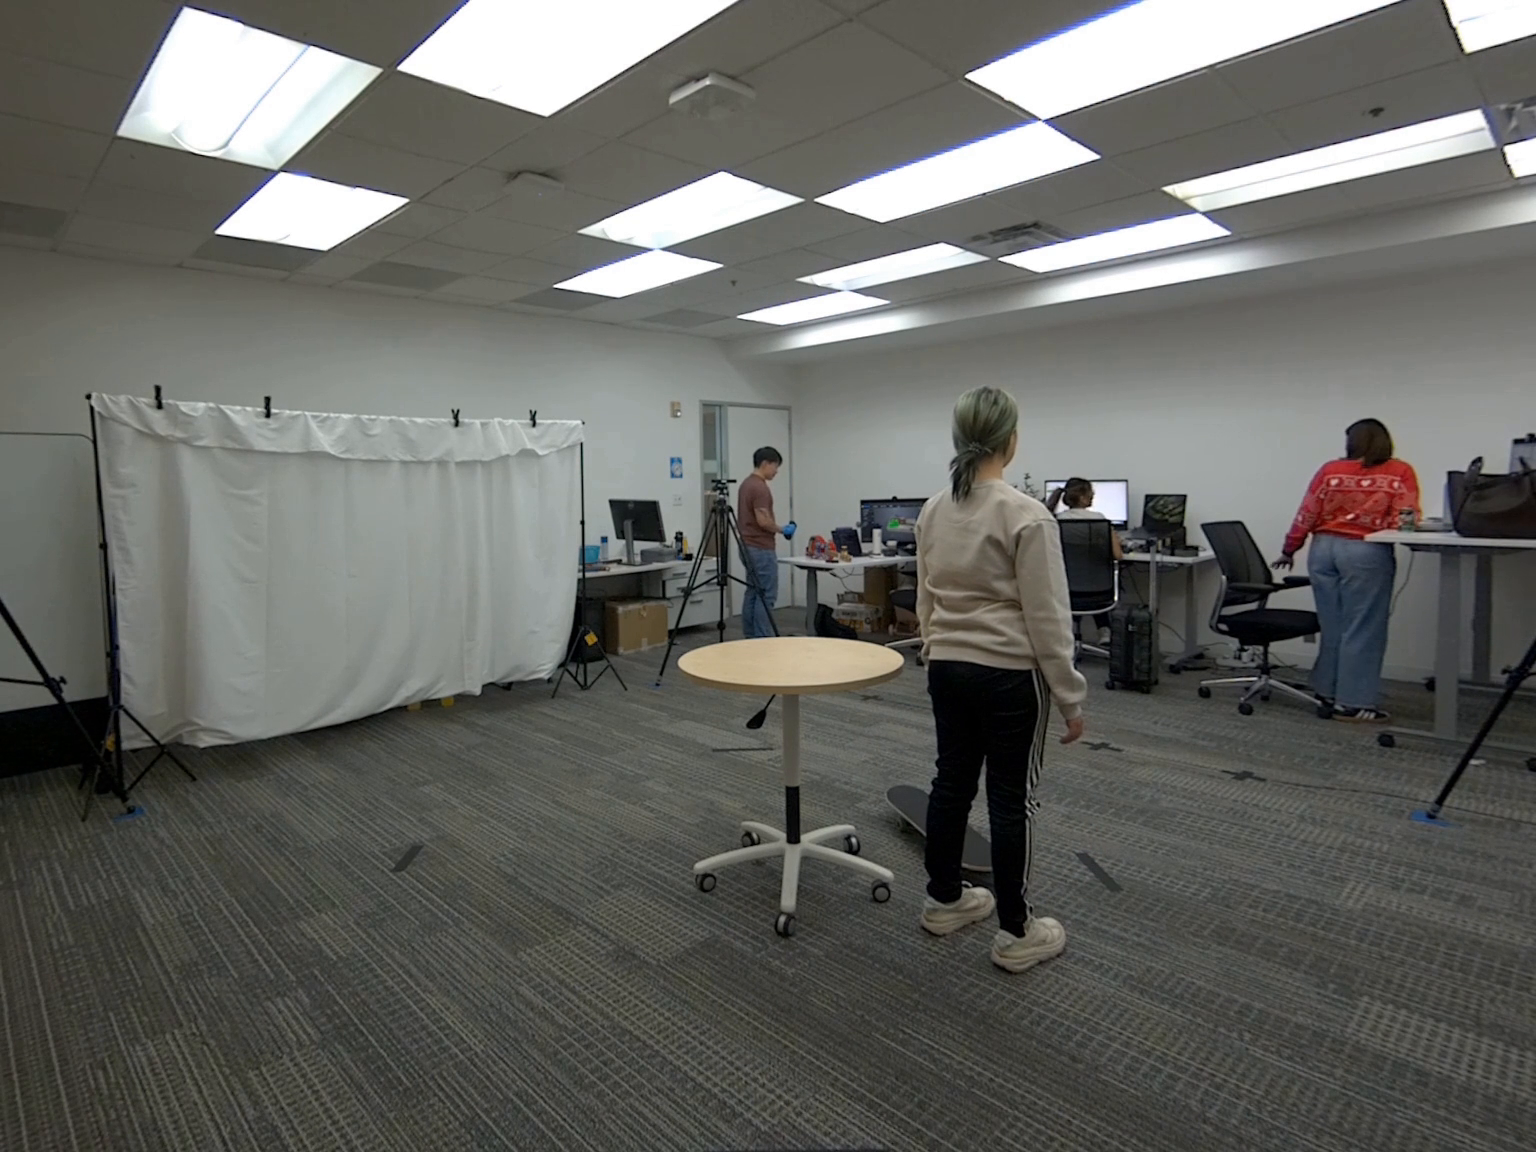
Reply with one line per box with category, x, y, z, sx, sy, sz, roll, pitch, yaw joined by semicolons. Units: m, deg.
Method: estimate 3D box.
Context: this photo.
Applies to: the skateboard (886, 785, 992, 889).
skateboard;0.641;0.961;3.184;0.191;0.110;0.800;1;6;-15
